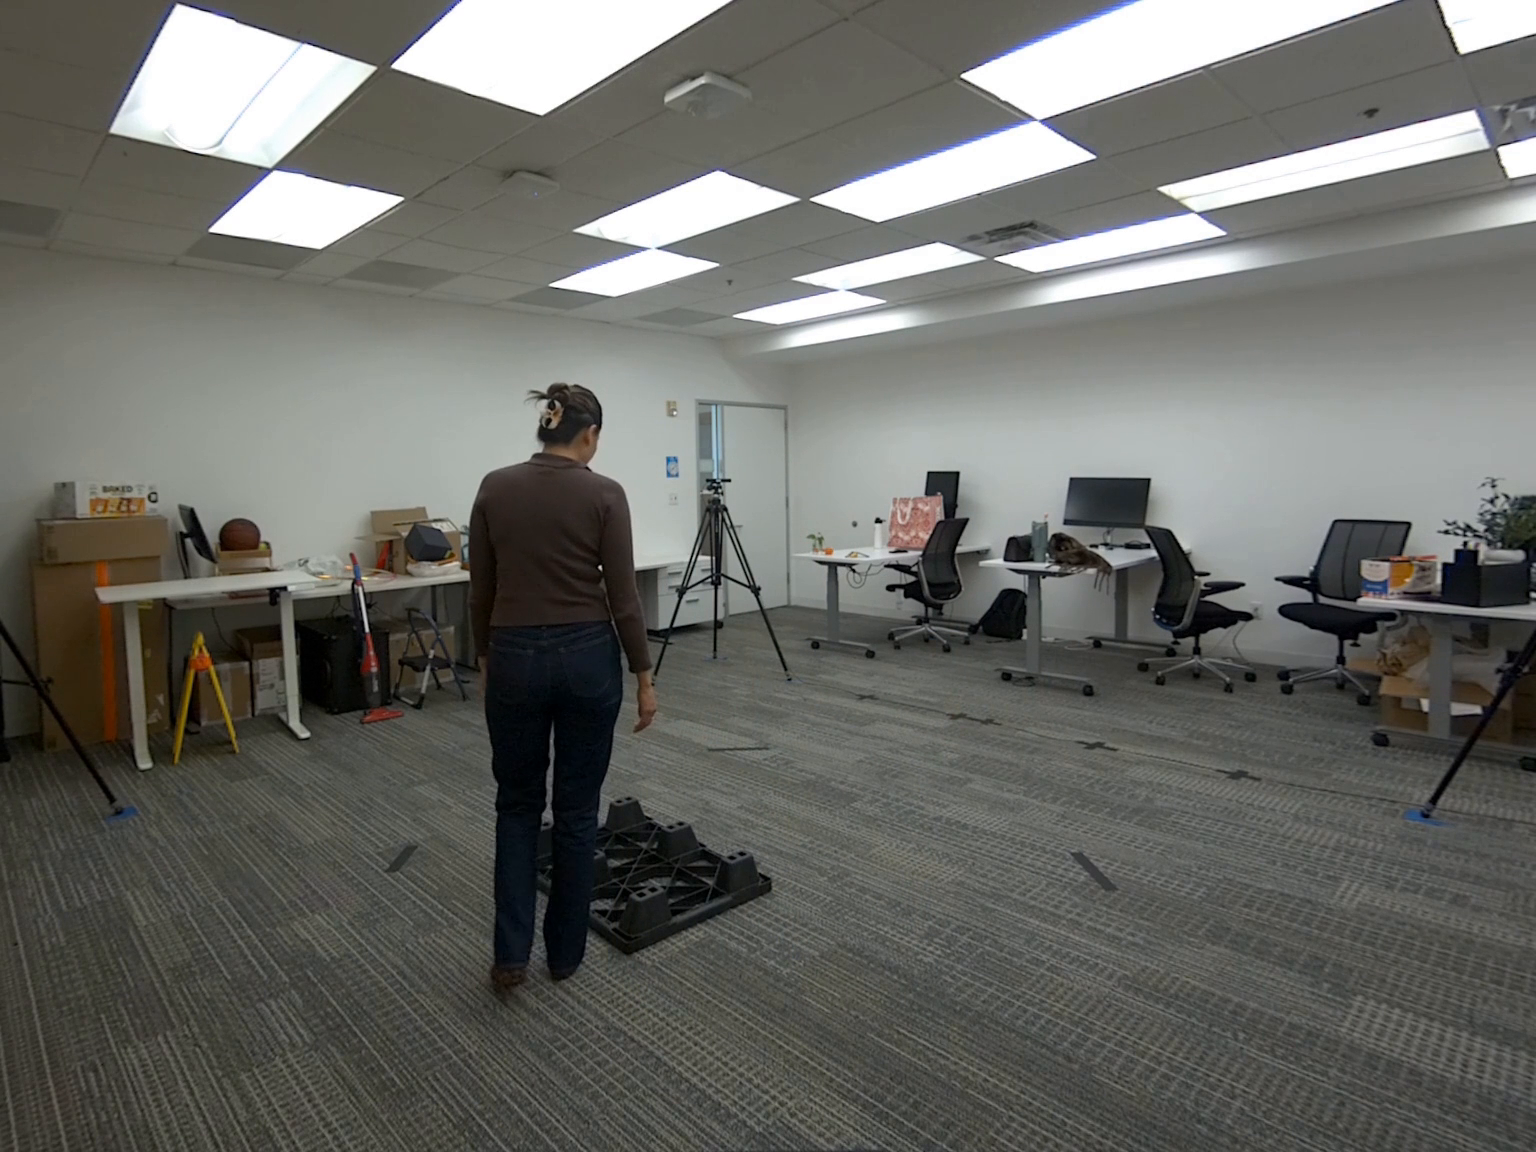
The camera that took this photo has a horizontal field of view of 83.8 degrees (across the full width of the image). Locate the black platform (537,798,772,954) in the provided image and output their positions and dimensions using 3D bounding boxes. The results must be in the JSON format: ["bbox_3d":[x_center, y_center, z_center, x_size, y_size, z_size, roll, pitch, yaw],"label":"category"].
[{"bbox_3d":[-0.460,0.998,3.008,0.589,0.142,0.831,-7,9,-42],"label":"black platform"}]
